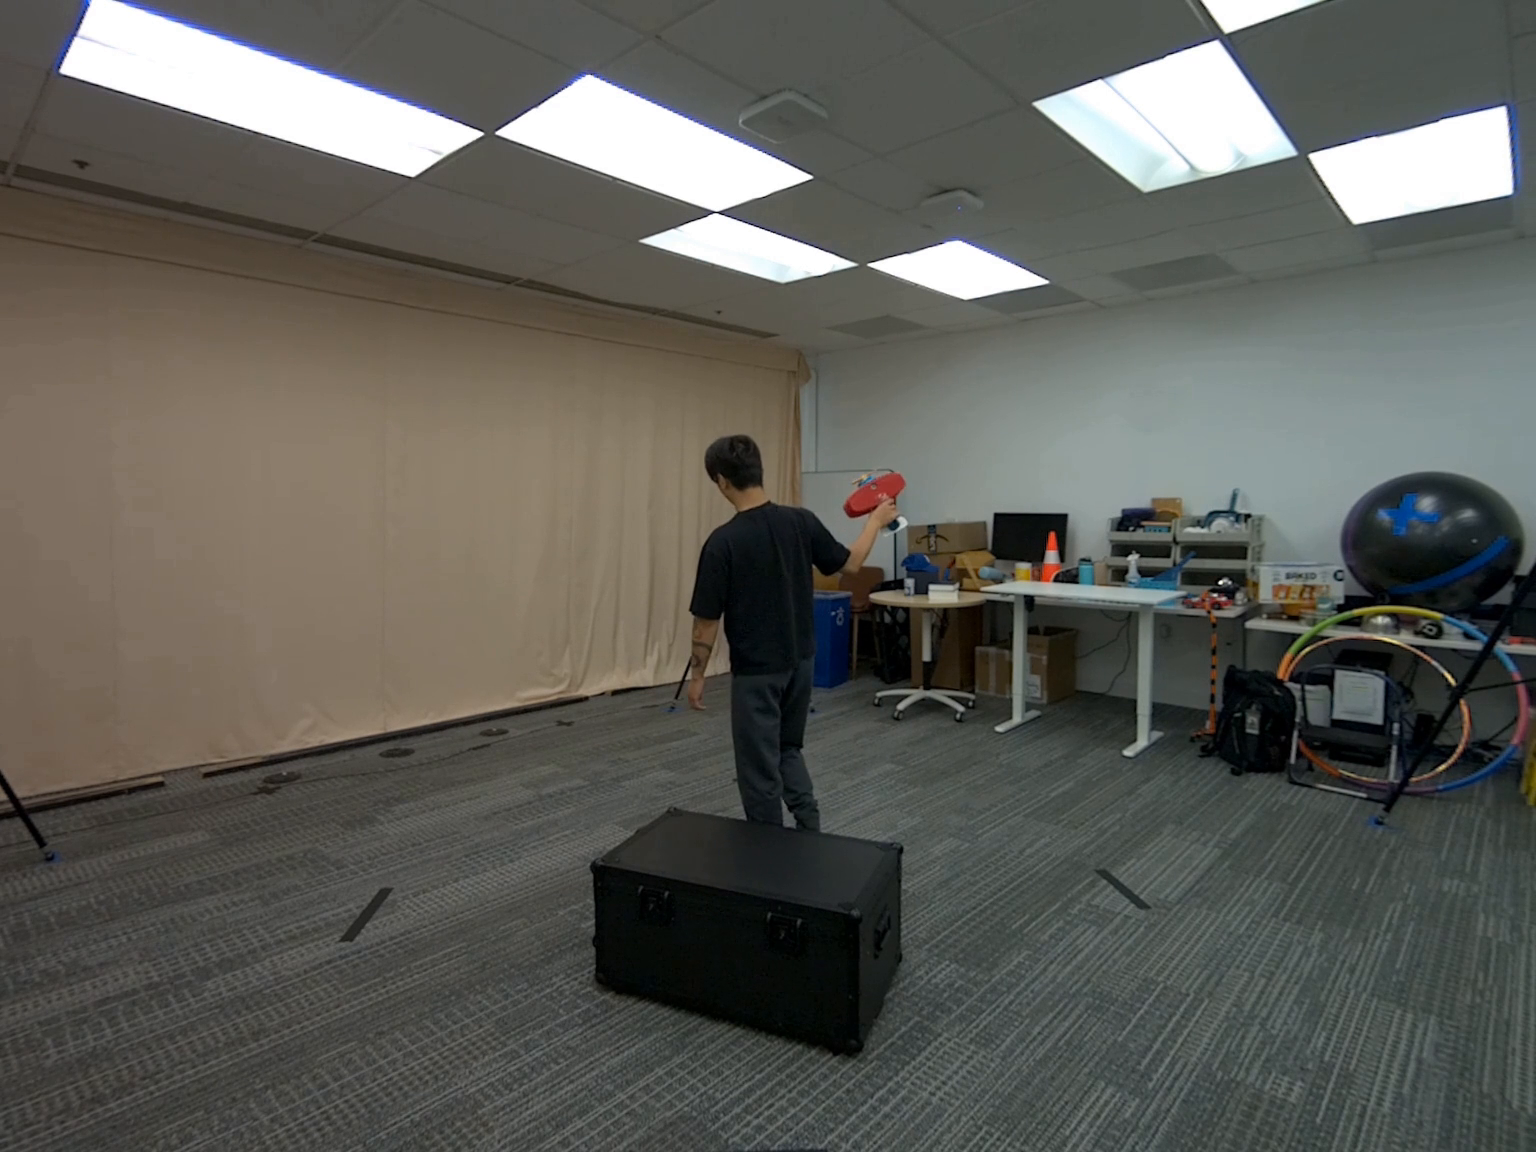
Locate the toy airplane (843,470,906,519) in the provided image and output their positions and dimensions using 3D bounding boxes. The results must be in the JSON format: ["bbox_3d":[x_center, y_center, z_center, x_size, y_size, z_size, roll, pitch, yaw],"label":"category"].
[{"bbox_3d":[0.460,-0.300,3.403,0.265,0.250,0.153,27,-21,17],"label":"toy airplane"}]
